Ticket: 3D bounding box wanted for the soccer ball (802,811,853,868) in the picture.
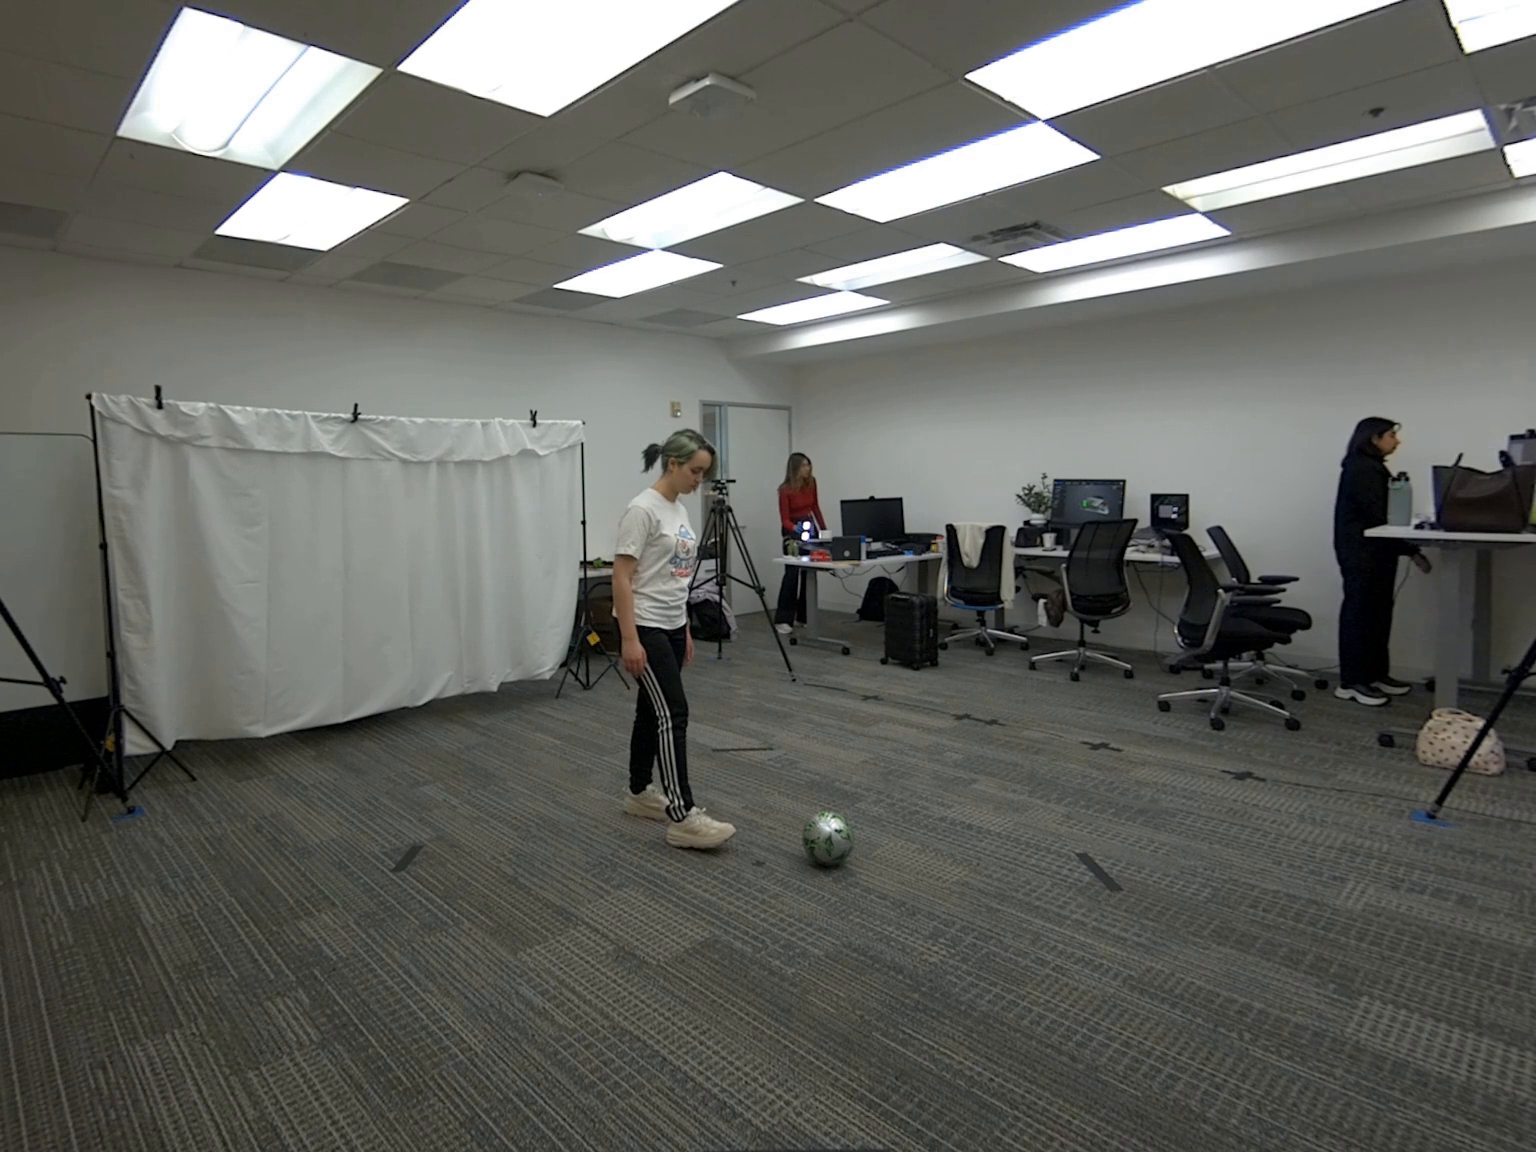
[{"bbox_3d":[0.216,0.950,3.095,0.187,0.187,0.188,-1,5,-2],"label":"soccer ball"}]
